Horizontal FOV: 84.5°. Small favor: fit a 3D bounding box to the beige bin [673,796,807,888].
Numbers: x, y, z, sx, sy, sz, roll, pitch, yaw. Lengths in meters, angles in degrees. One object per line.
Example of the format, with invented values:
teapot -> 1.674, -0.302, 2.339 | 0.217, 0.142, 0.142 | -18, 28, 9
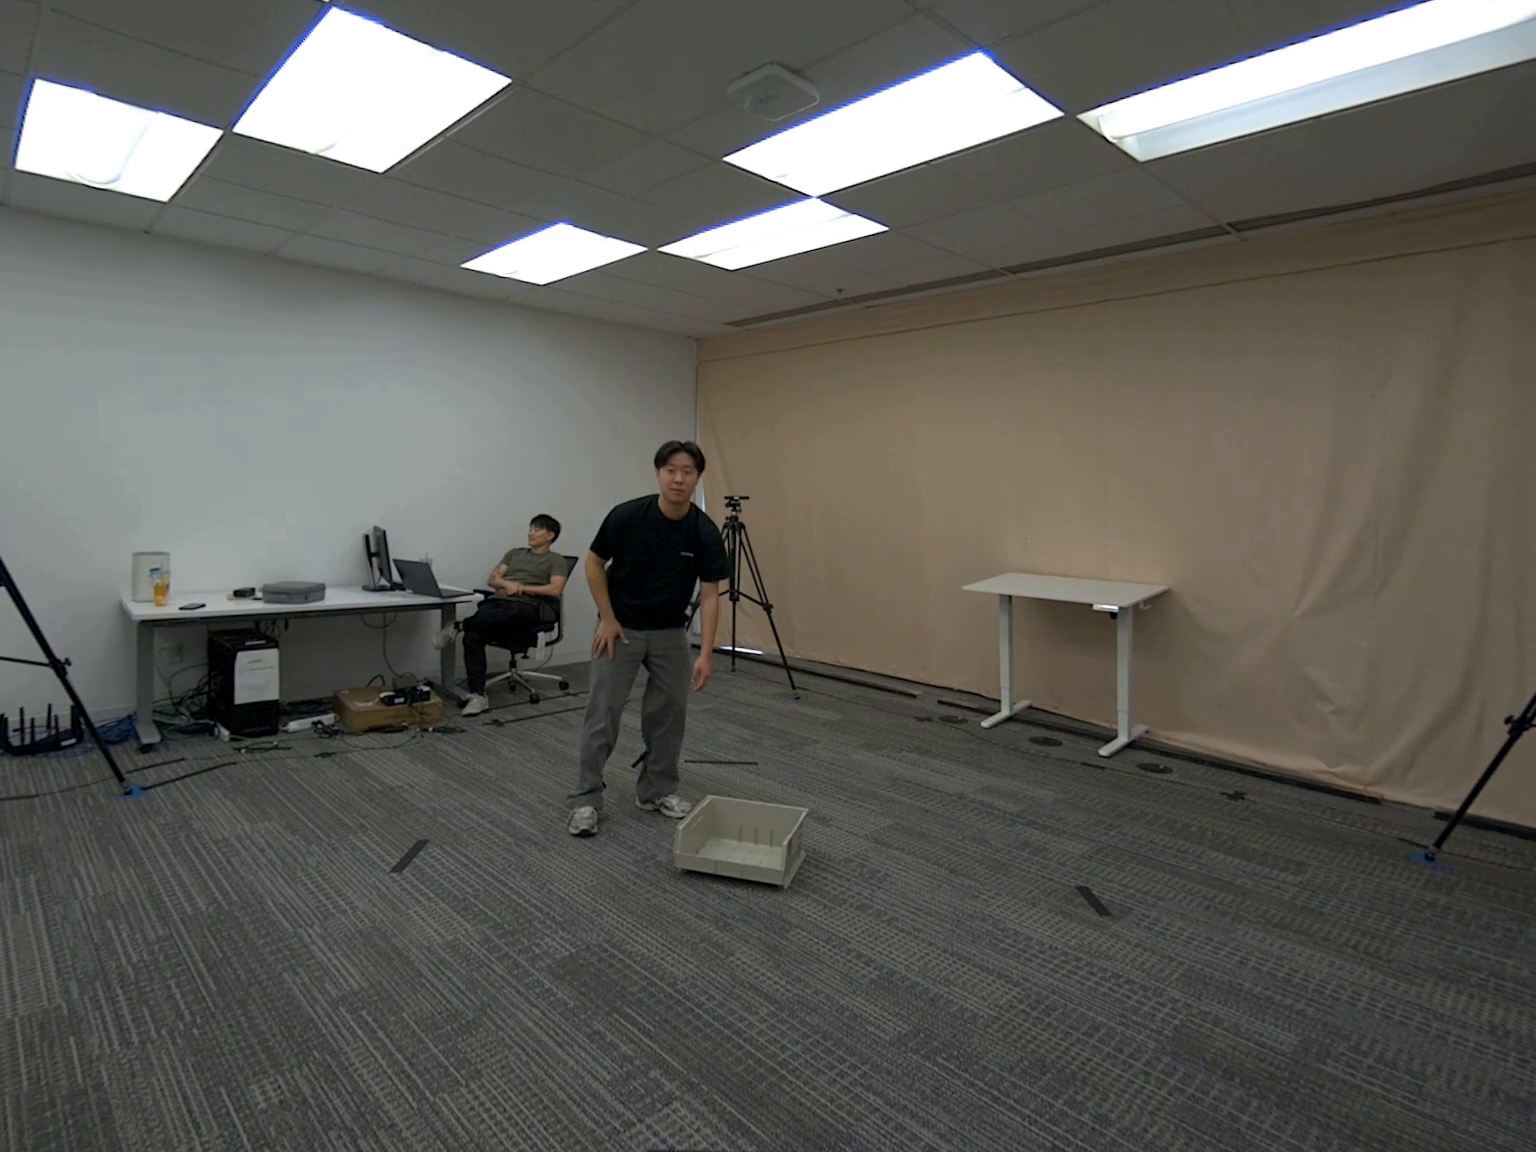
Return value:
beige bin -> -0.098, 1.010, 3.187 | 0.428, 0.188, 0.373 | 2, 4, 16
